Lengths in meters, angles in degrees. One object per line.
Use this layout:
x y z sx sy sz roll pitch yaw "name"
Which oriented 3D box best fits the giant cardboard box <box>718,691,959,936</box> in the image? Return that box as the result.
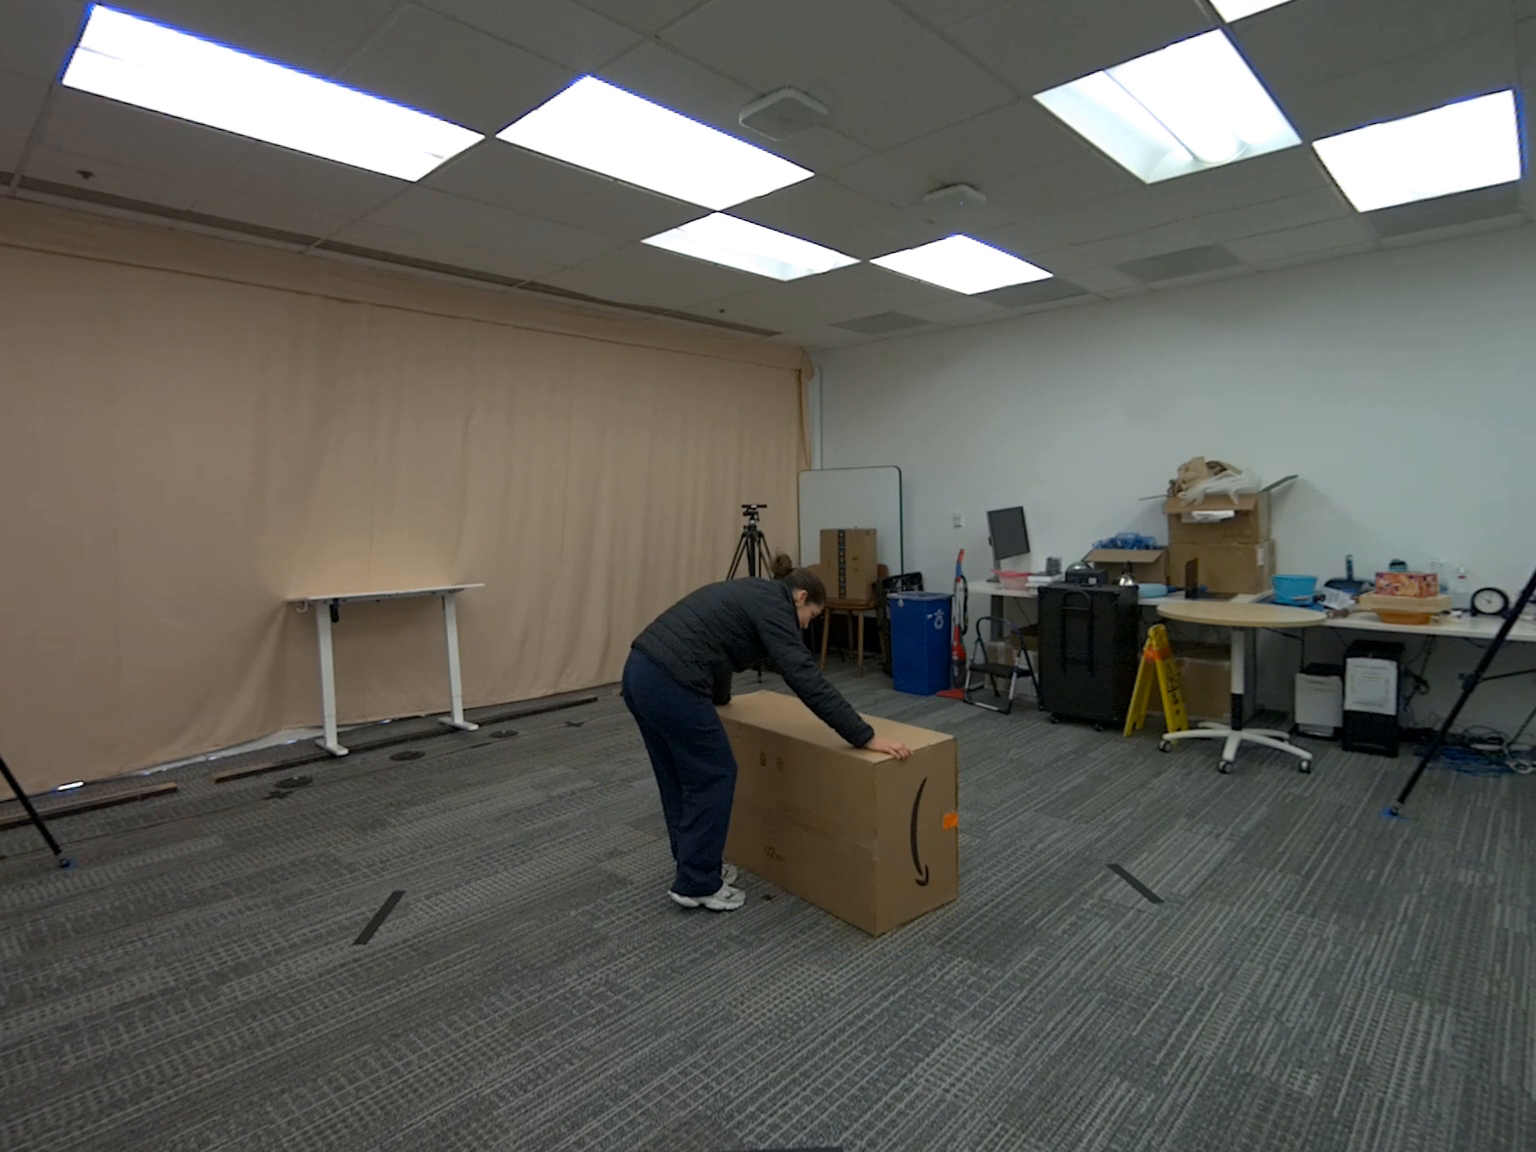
0.179 0.831 3.210 0.434 0.582 1.060 -6 6 -38 "giant cardboard box"
